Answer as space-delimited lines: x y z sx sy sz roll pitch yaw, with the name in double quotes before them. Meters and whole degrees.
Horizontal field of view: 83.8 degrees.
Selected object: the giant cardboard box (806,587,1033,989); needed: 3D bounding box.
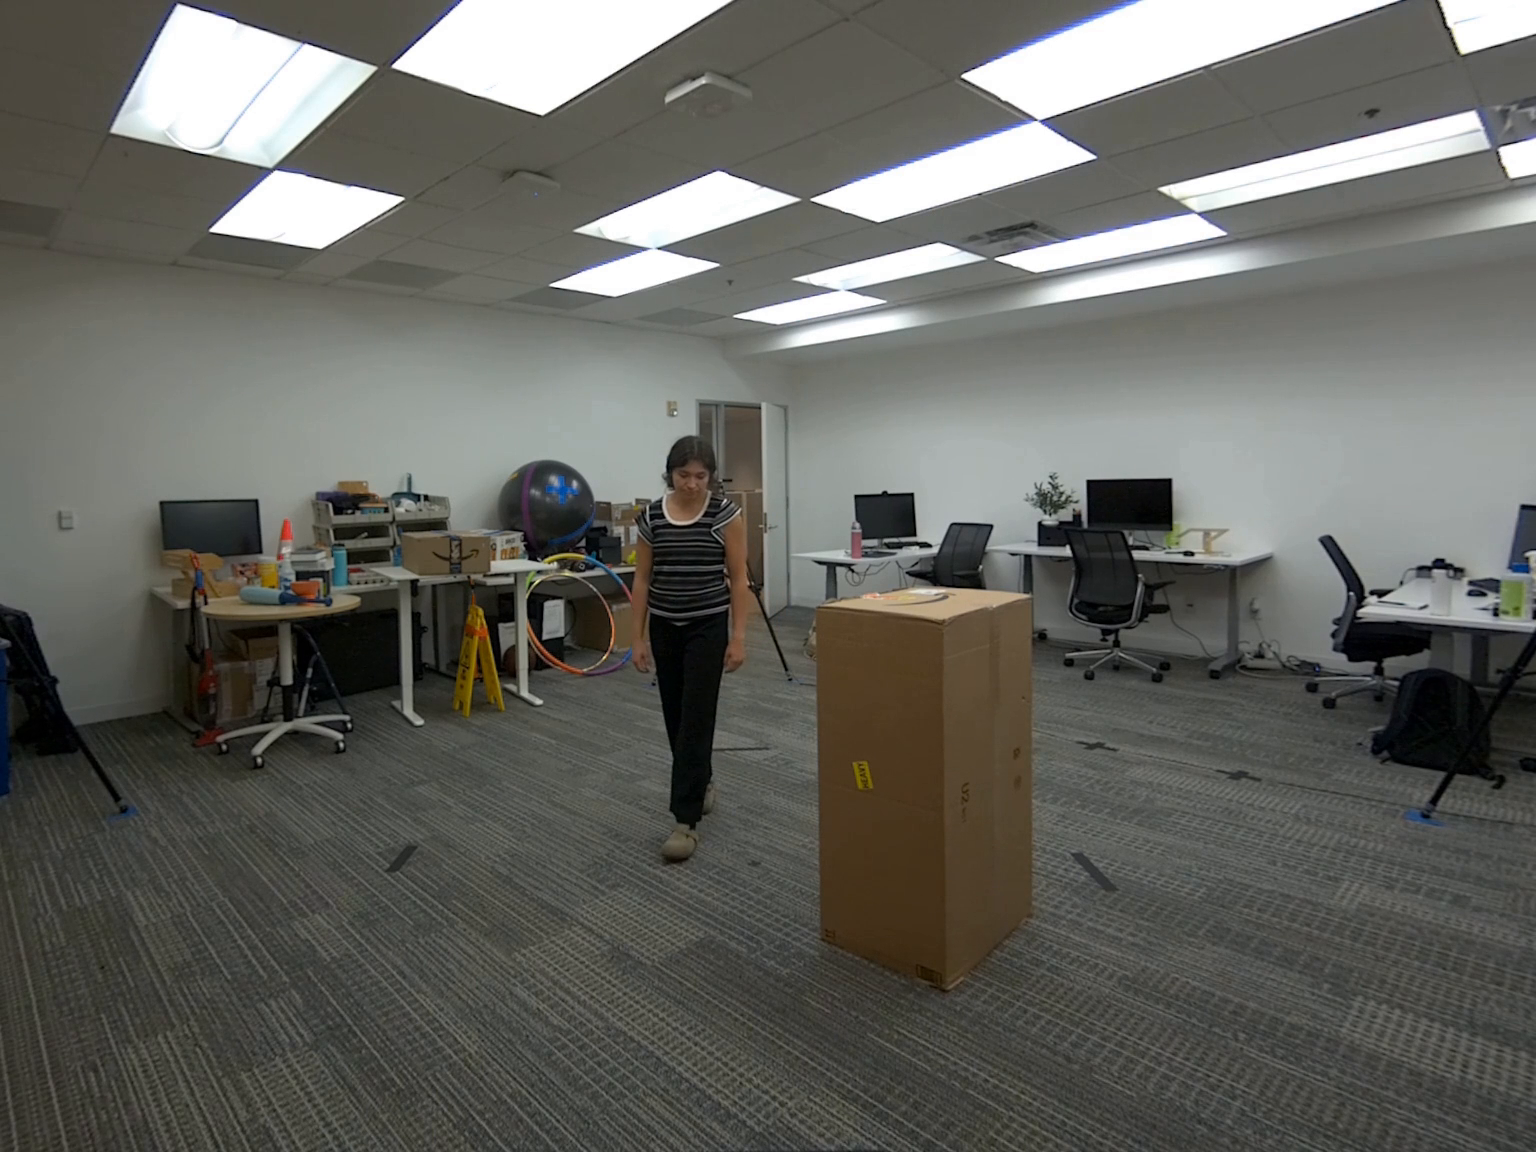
"giant cardboard box" 0.494 0.584 2.626 0.439 1.022 0.562 2 5 41
